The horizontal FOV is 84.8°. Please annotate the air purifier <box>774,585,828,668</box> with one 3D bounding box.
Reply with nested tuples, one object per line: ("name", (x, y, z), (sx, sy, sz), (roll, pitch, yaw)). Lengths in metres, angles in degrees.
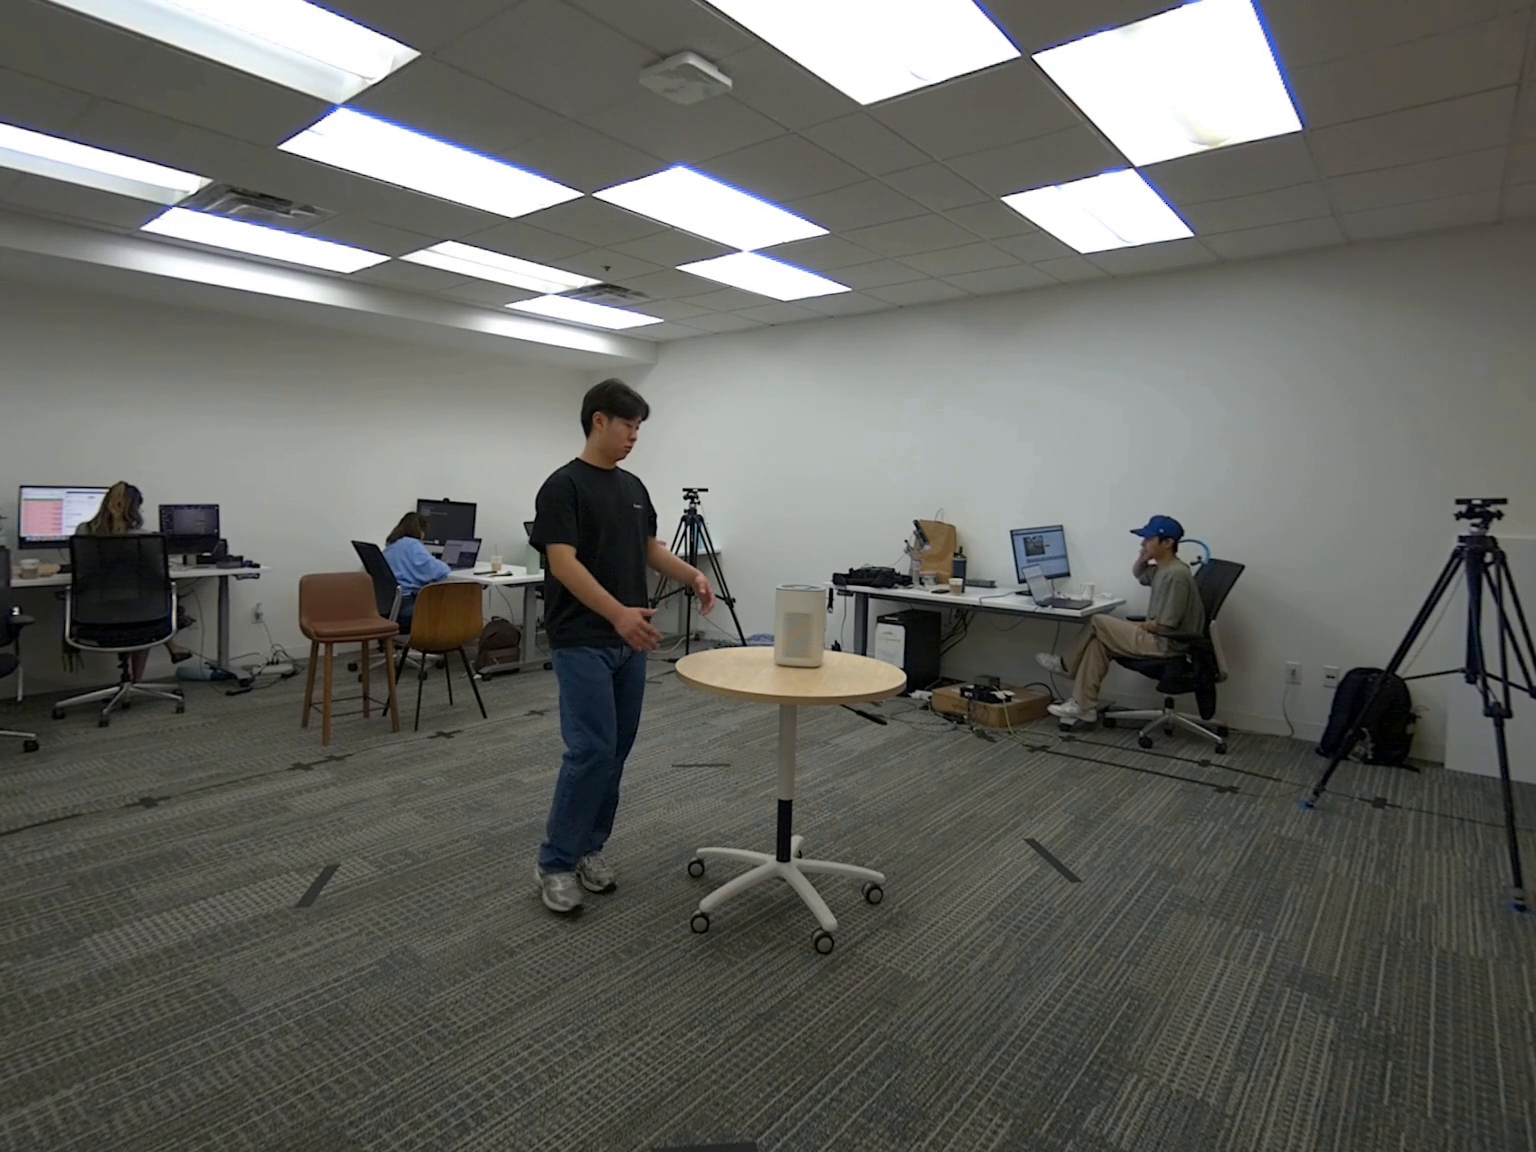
("air purifier", (0.105, 0.169, 2.927), (0.173, 0.264, 0.170), (2, 4, 6))
